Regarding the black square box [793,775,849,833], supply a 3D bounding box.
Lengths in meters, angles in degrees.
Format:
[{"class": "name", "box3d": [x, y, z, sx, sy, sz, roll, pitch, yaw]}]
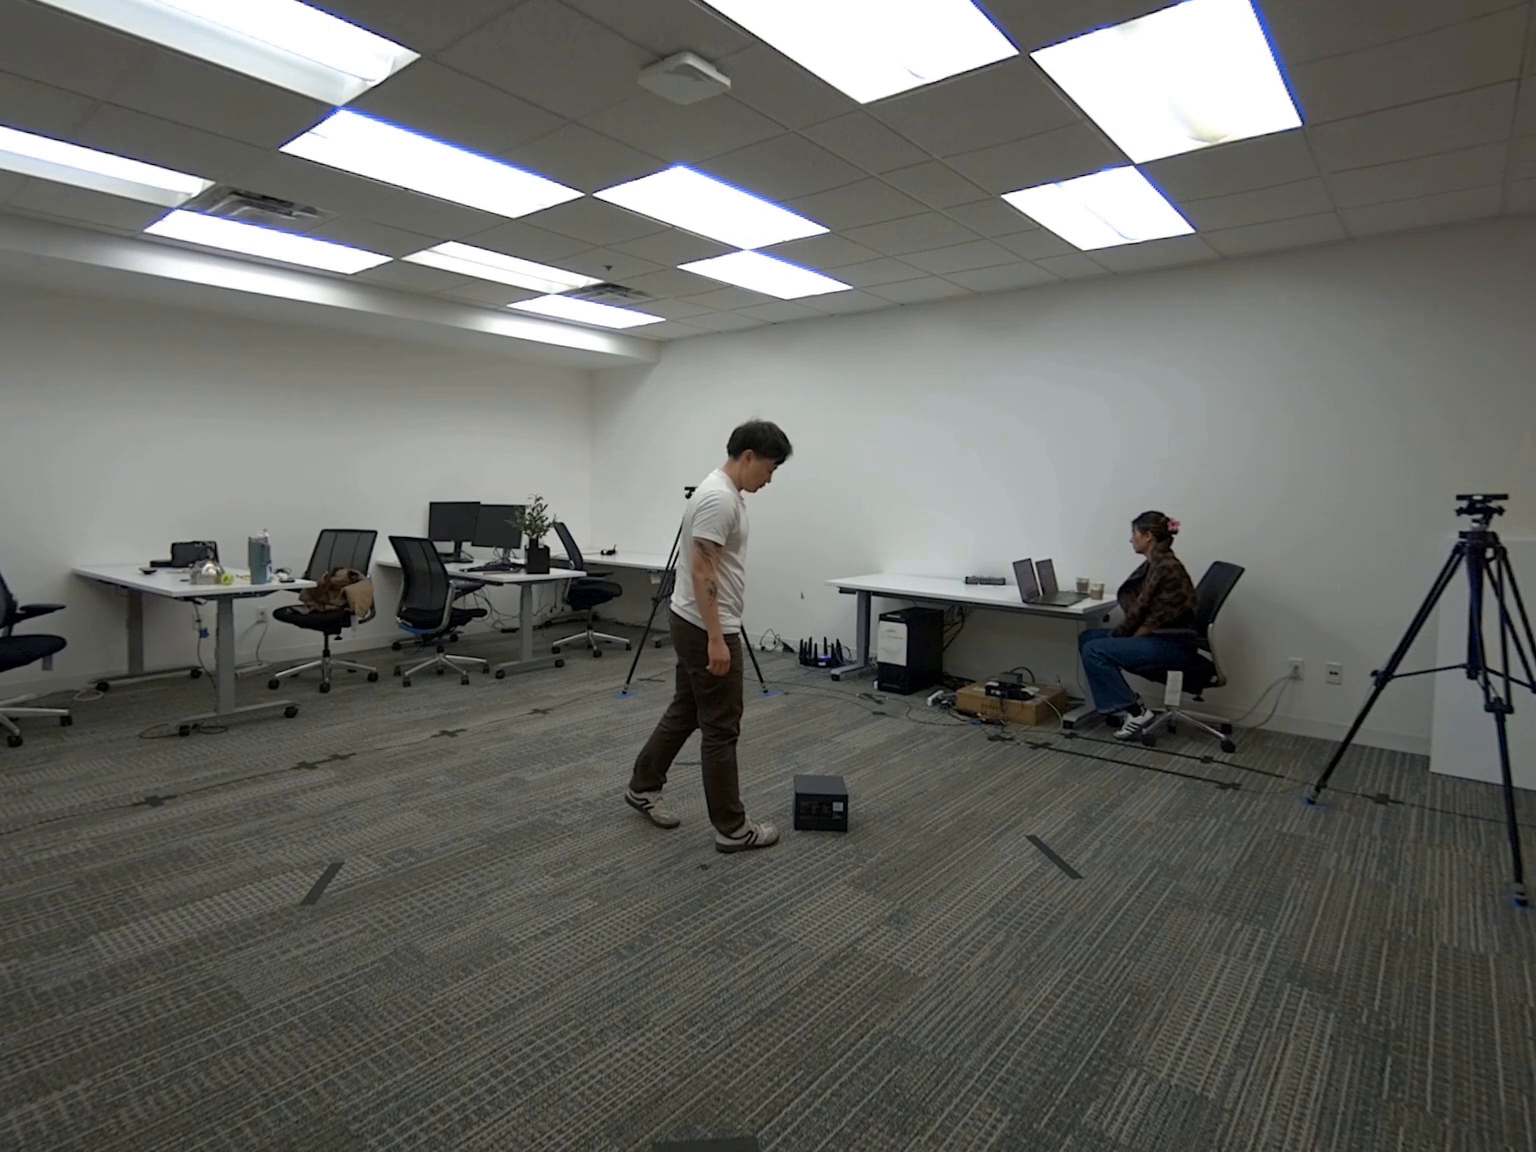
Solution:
[{"class": "black square box", "box3d": [0.210, 0.941, 3.566, 0.217, 0.155, 0.228, 1, 5, 0]}]
